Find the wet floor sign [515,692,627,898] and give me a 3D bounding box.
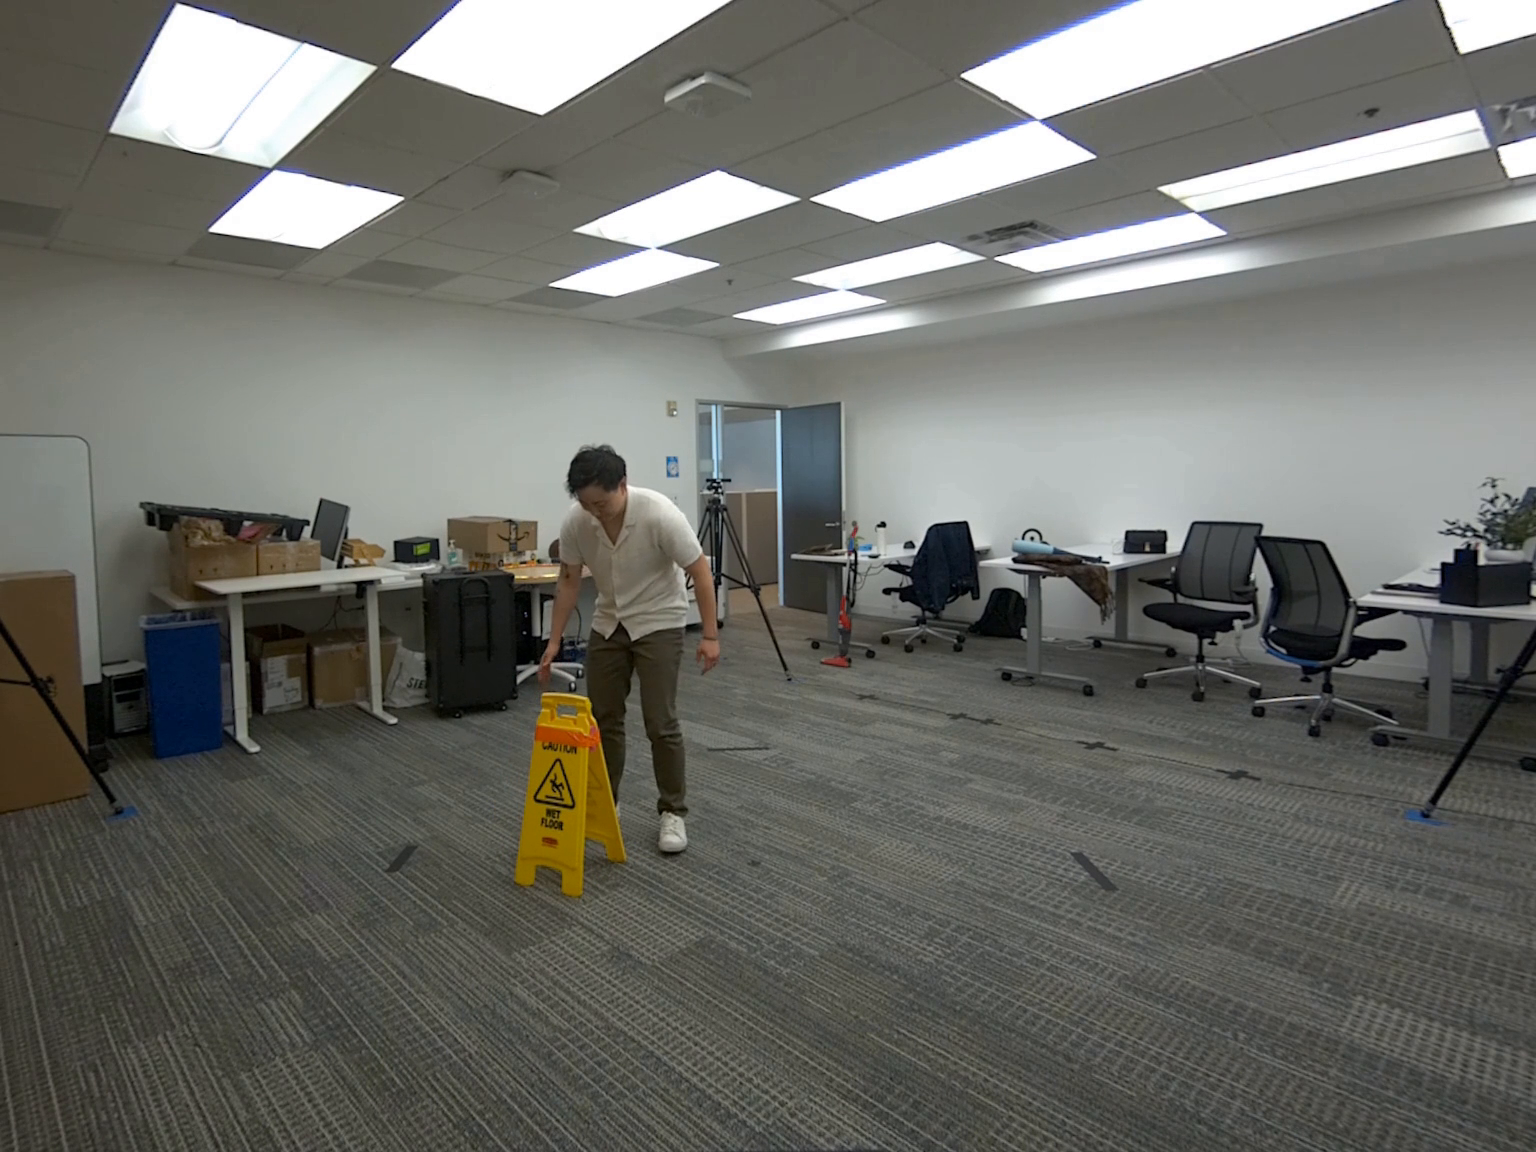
[{"bbox_3d":[-0.711,0.742,3.044,0.289,0.644,0.284,0,4,25],"label":"wet floor sign"}]
